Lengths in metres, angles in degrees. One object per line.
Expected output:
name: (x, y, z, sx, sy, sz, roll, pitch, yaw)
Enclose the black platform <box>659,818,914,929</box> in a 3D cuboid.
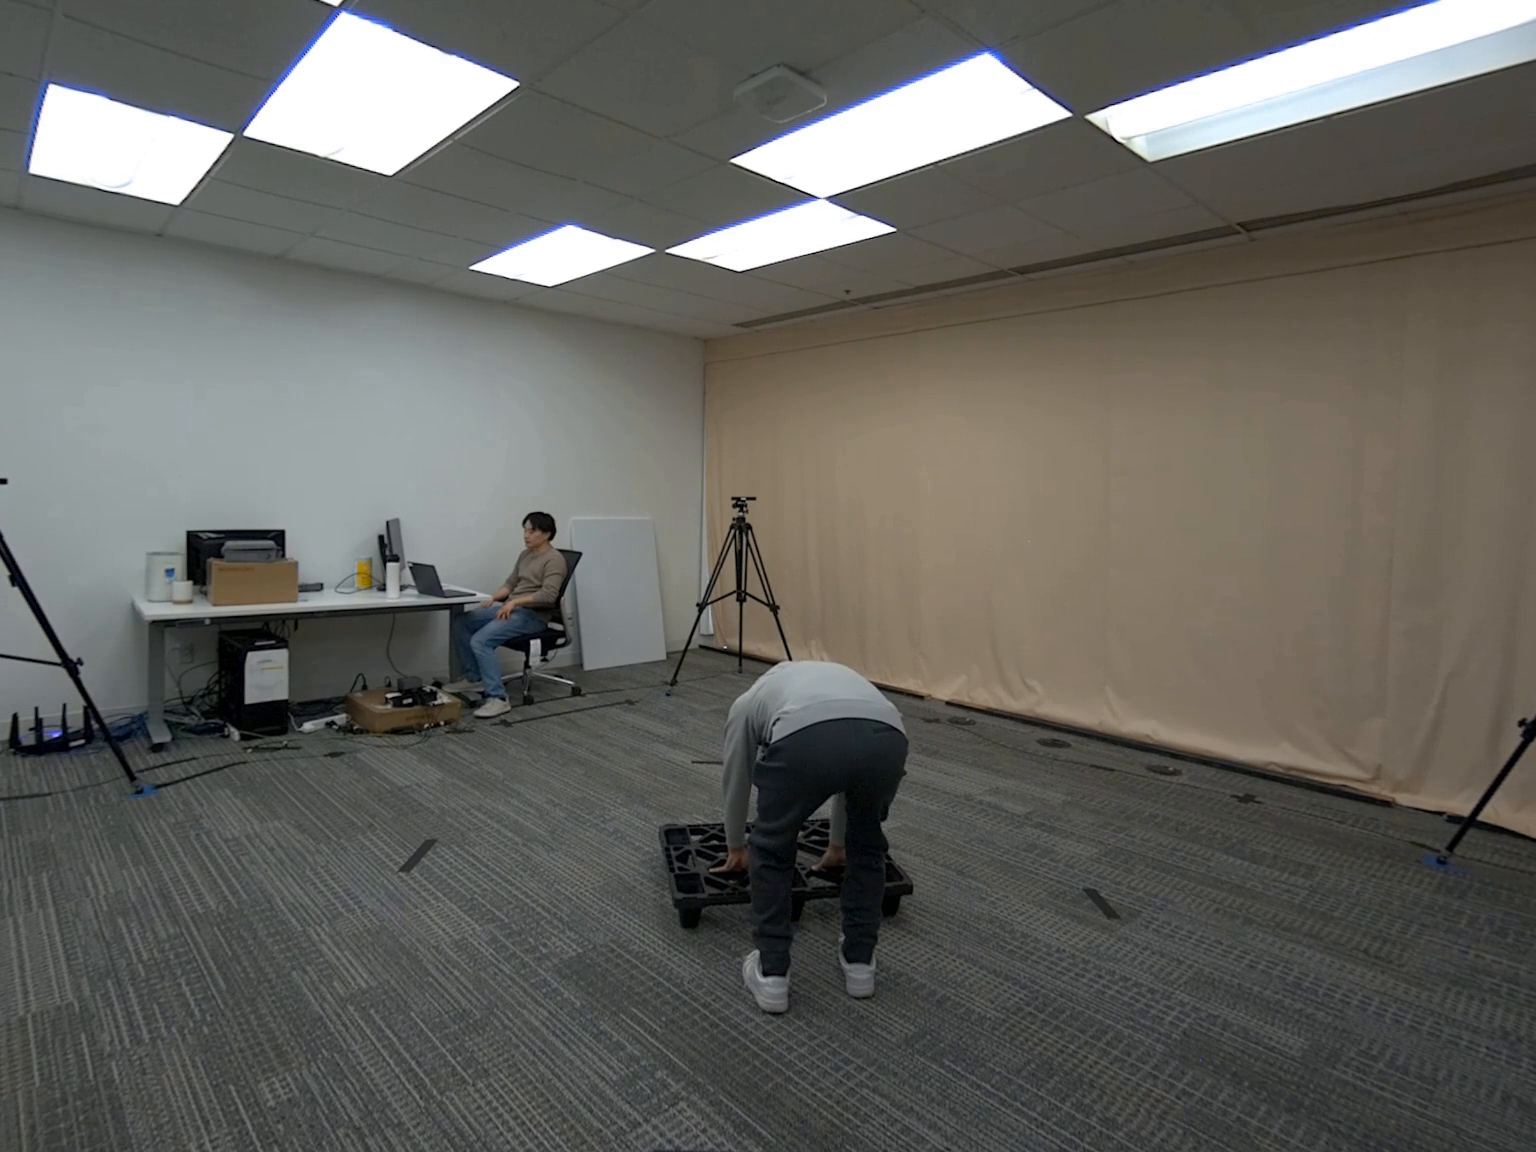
black platform: (0.028, 1.050, 2.999, 0.799, 0.143, 0.612, 0, 6, -10)
